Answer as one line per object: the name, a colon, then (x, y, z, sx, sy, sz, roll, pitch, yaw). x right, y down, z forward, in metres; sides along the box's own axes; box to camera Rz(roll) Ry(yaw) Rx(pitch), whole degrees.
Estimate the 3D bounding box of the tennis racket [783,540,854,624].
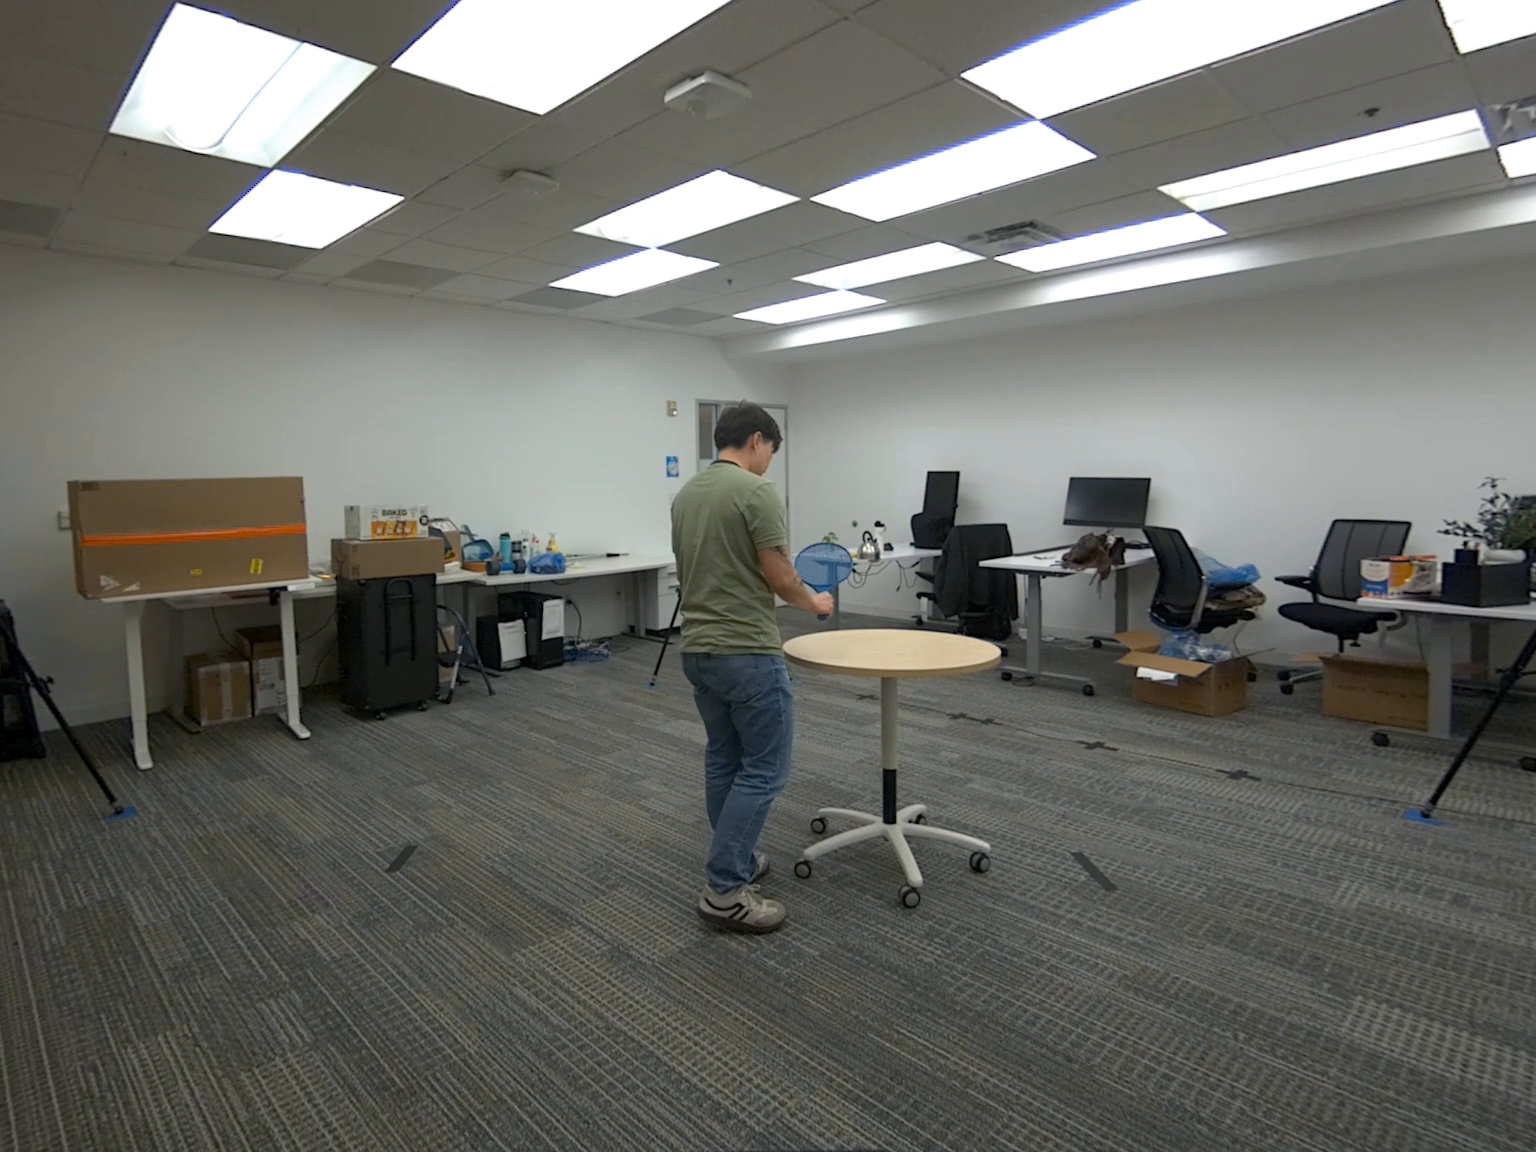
tennis racket: (0.184, 0.011, 3.033, 0.216, 0.031, 0.441, -1, 37, 10)
